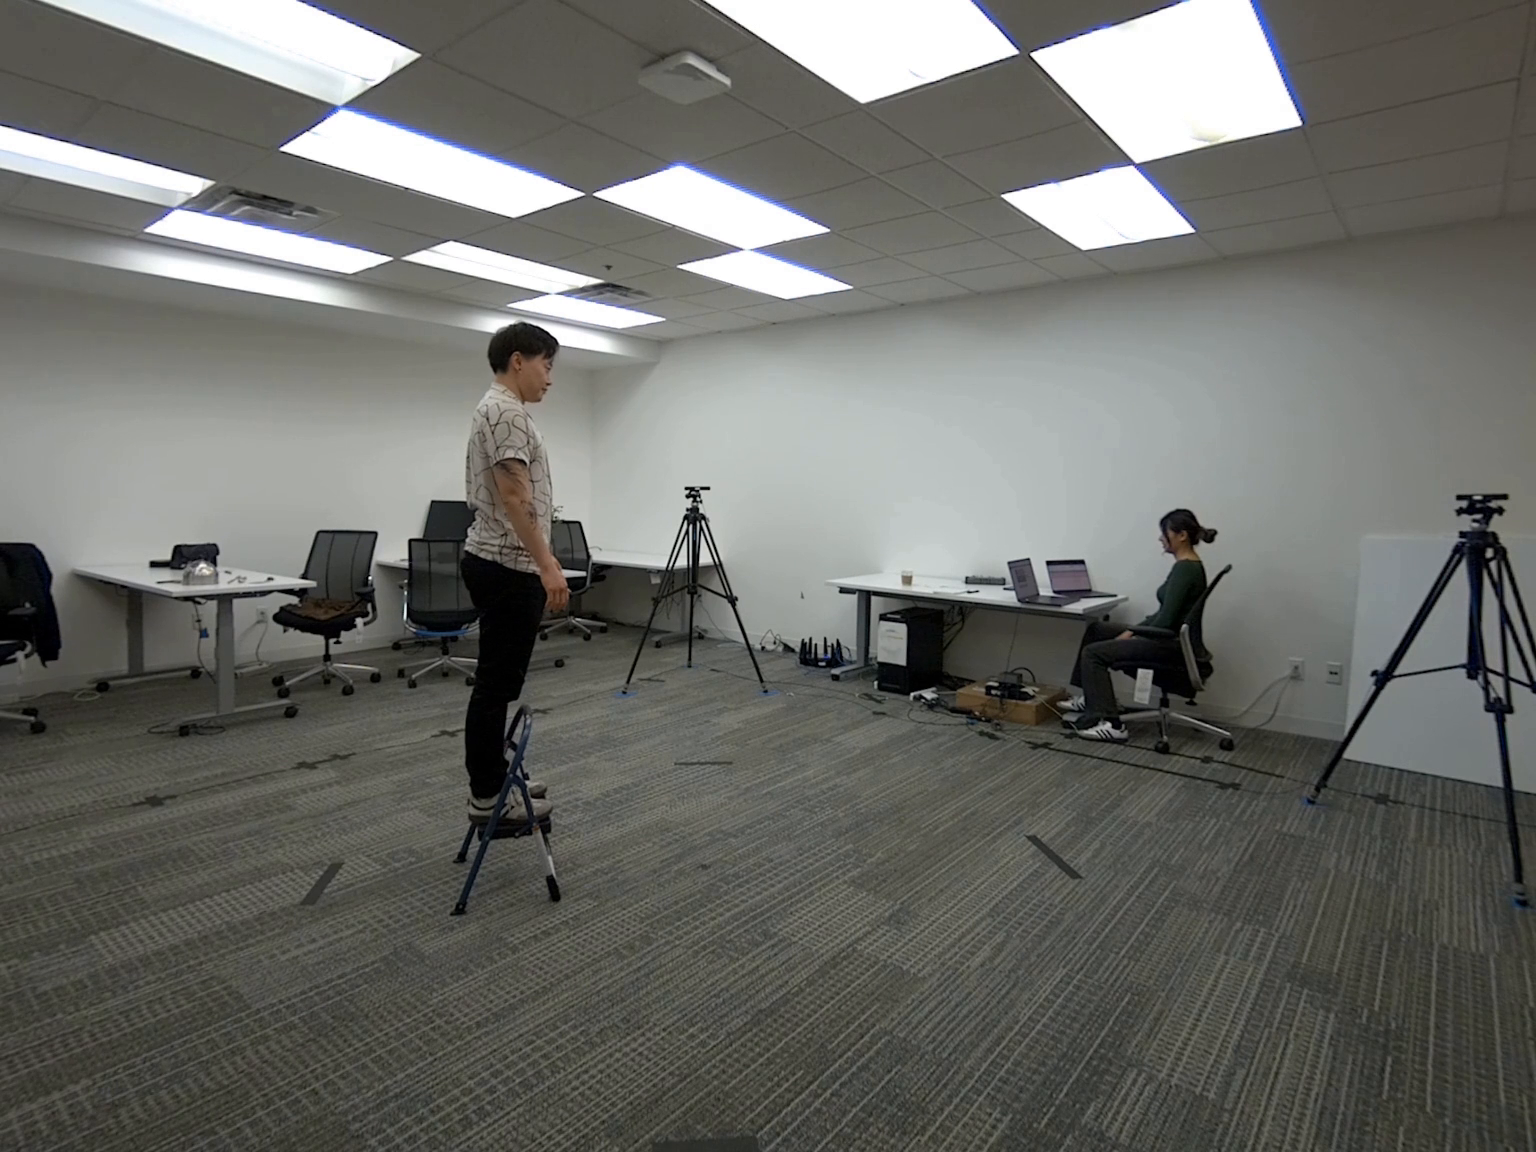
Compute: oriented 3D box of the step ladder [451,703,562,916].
[{"bbox_3d":[-0.930,0.771,2.975,0.343,0.604,0.440,-1,4,-18],"label":"step ladder"}]
